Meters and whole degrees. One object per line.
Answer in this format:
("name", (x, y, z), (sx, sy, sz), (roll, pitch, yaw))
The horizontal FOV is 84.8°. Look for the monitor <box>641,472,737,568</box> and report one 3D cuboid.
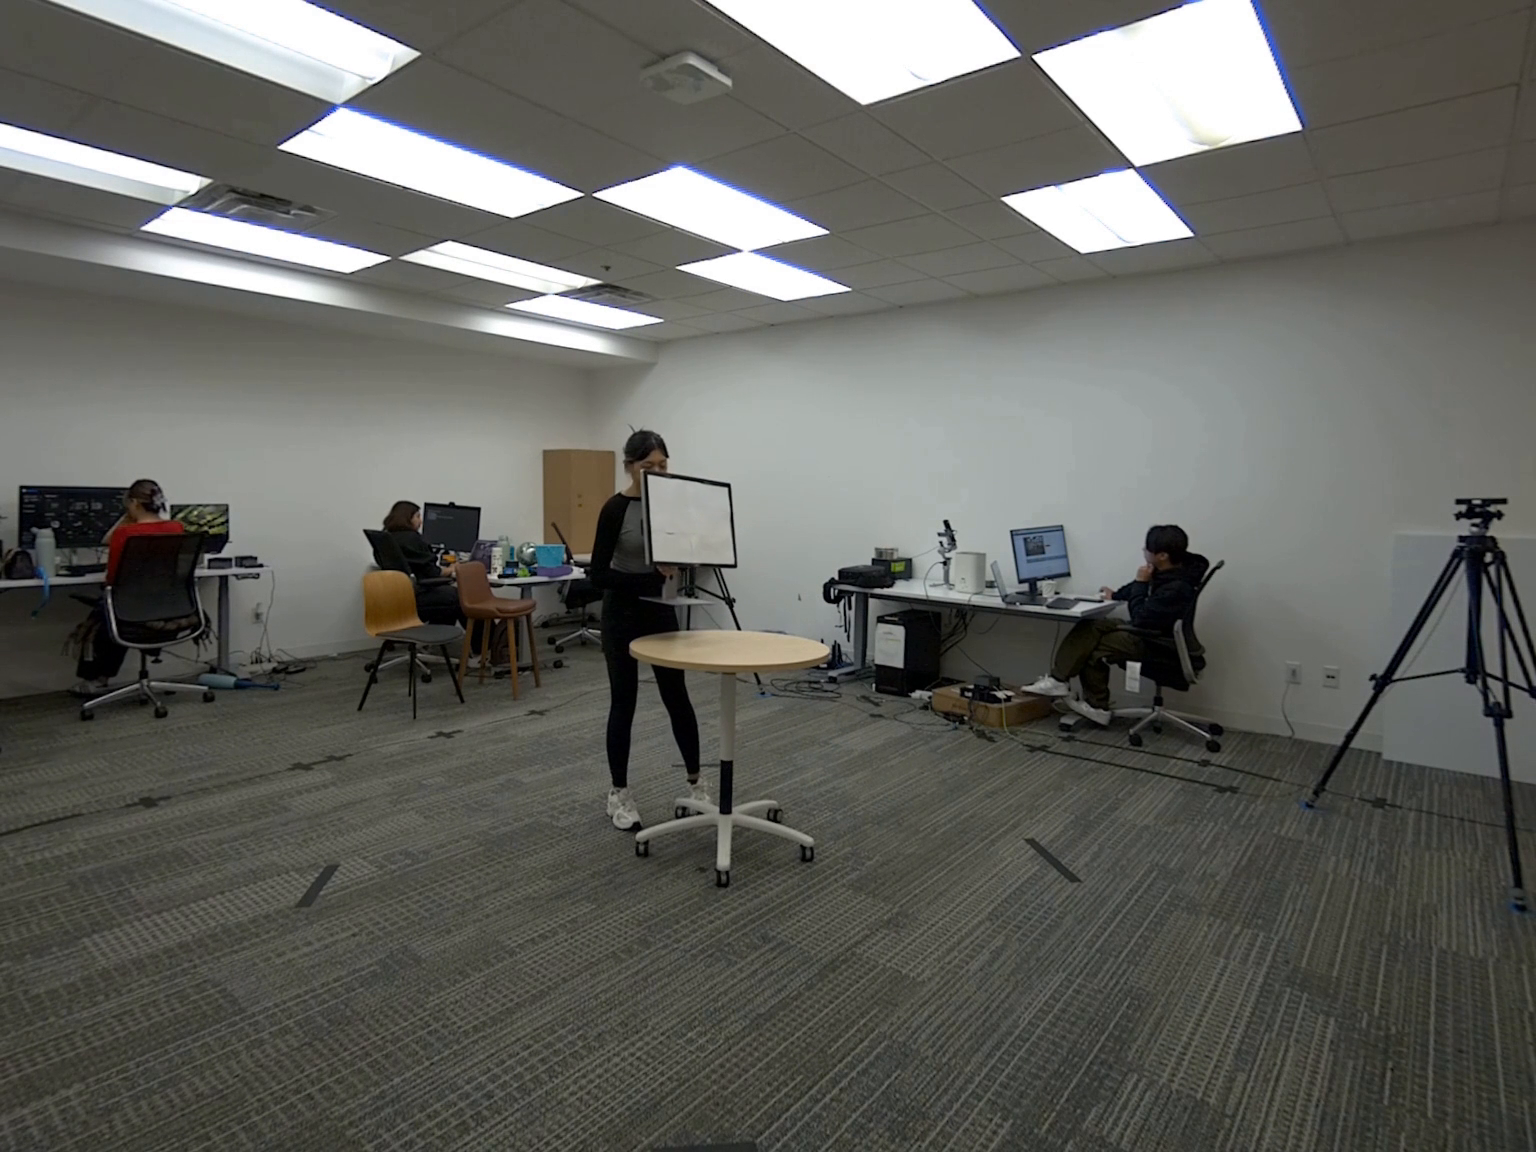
("monitor", (-0.355, -0.142, 3.409), (0.193, 0.522, 0.523), (7, 2, 32))
